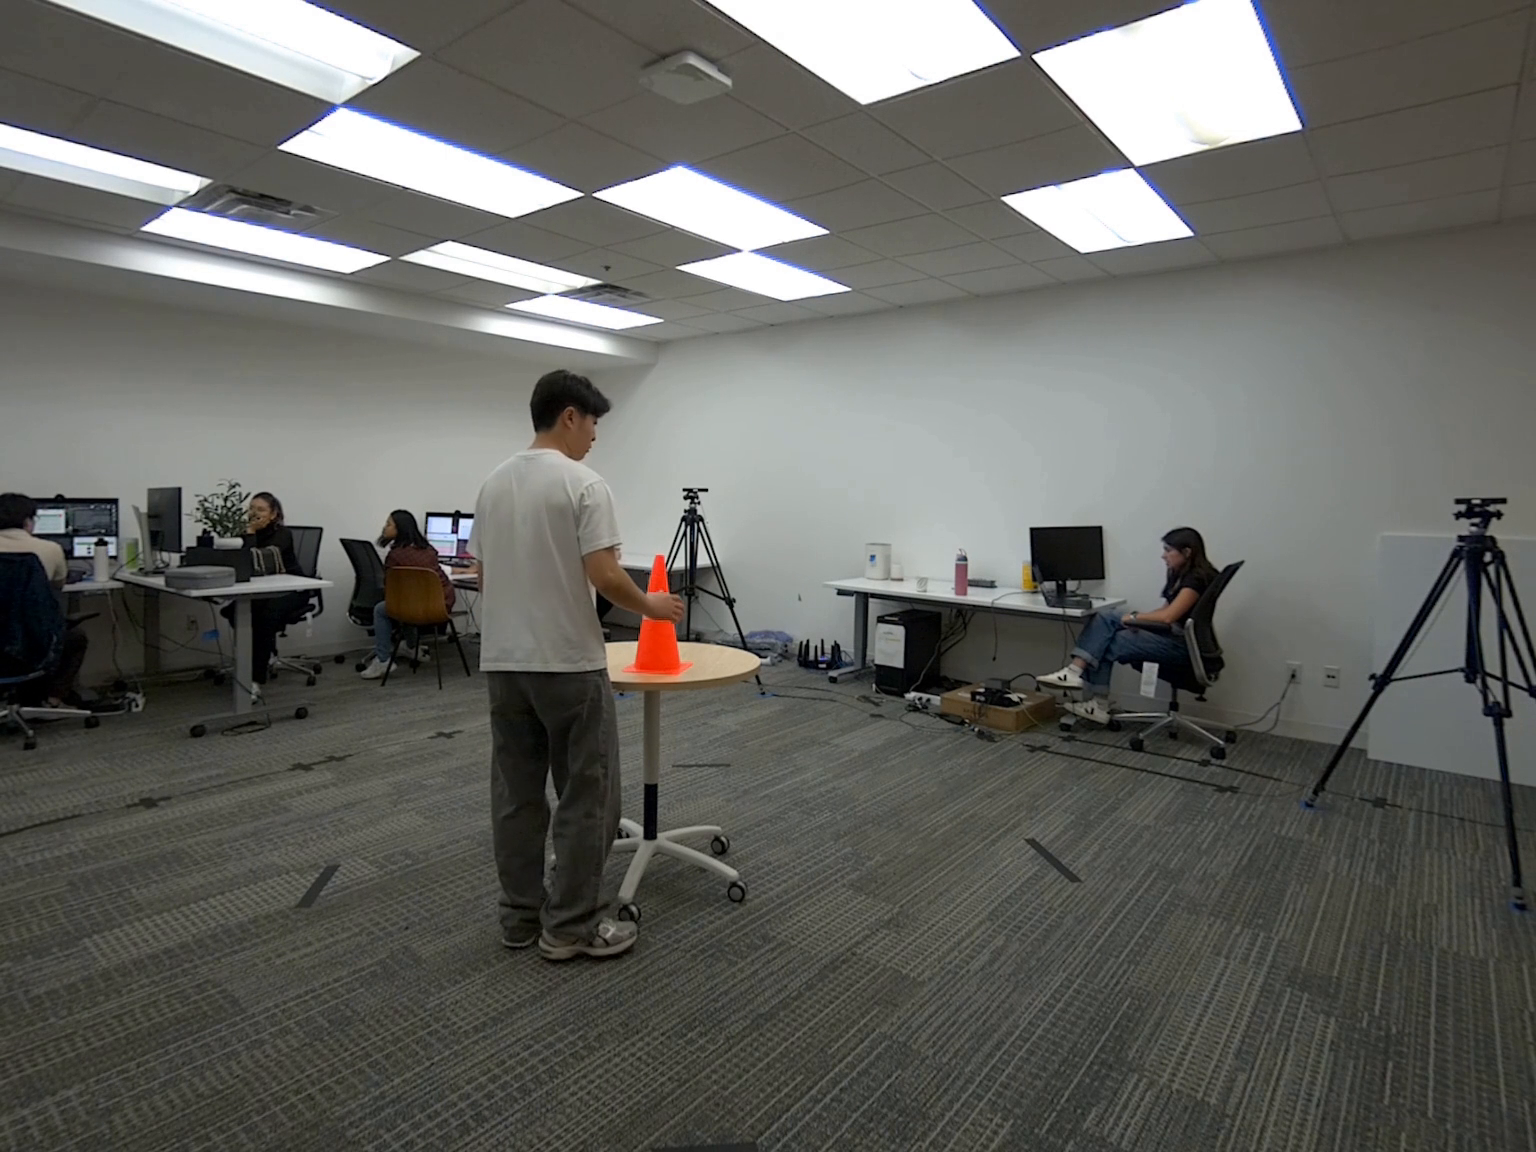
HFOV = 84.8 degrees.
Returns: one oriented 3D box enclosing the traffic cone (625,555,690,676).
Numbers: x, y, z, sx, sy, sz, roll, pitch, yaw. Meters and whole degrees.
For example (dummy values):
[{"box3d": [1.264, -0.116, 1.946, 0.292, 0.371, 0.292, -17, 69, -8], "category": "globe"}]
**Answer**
[{"box3d": [-0.361, 0.115, 2.859, 0.209, 0.382, 0.200, 4, 4, 16], "category": "traffic cone"}]
